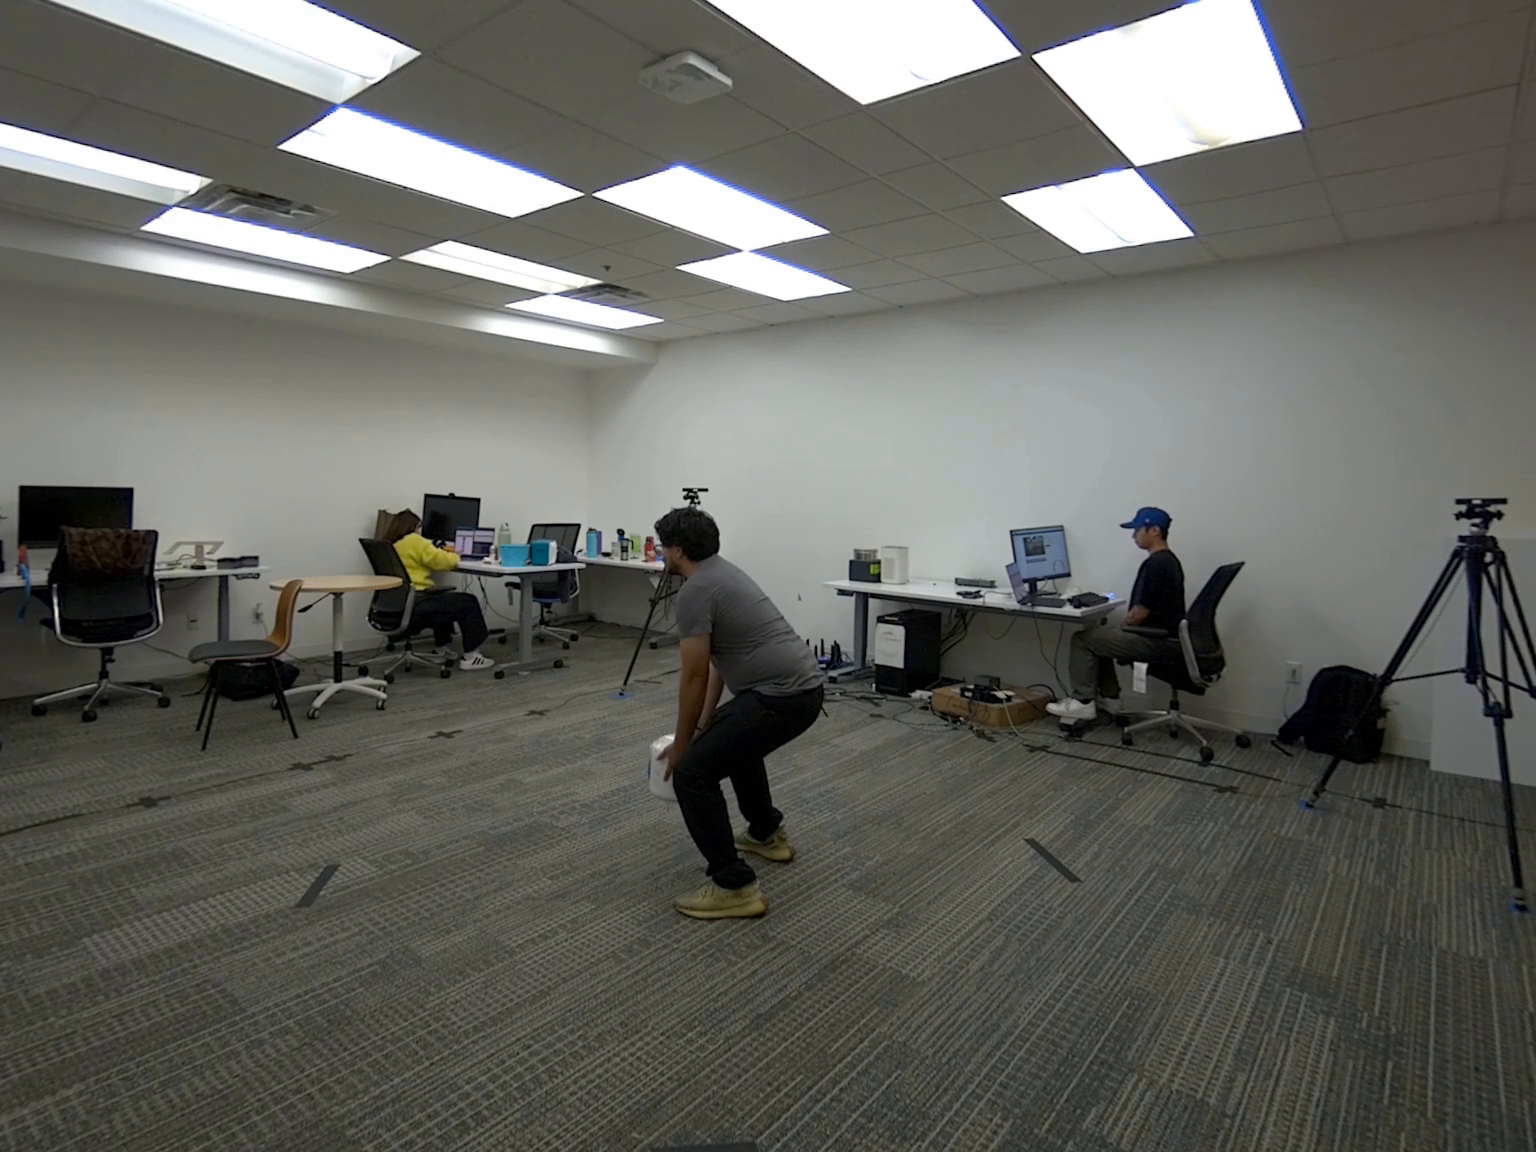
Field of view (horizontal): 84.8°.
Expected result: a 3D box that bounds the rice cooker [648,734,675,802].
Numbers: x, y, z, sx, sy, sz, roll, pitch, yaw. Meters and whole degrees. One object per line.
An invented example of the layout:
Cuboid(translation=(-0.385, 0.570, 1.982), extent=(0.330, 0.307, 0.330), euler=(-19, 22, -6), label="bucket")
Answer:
Cuboid(translation=(-0.334, 0.692, 3.138), extent=(0.214, 0.232, 0.224), euler=(2, 5, -13), label="rice cooker")
